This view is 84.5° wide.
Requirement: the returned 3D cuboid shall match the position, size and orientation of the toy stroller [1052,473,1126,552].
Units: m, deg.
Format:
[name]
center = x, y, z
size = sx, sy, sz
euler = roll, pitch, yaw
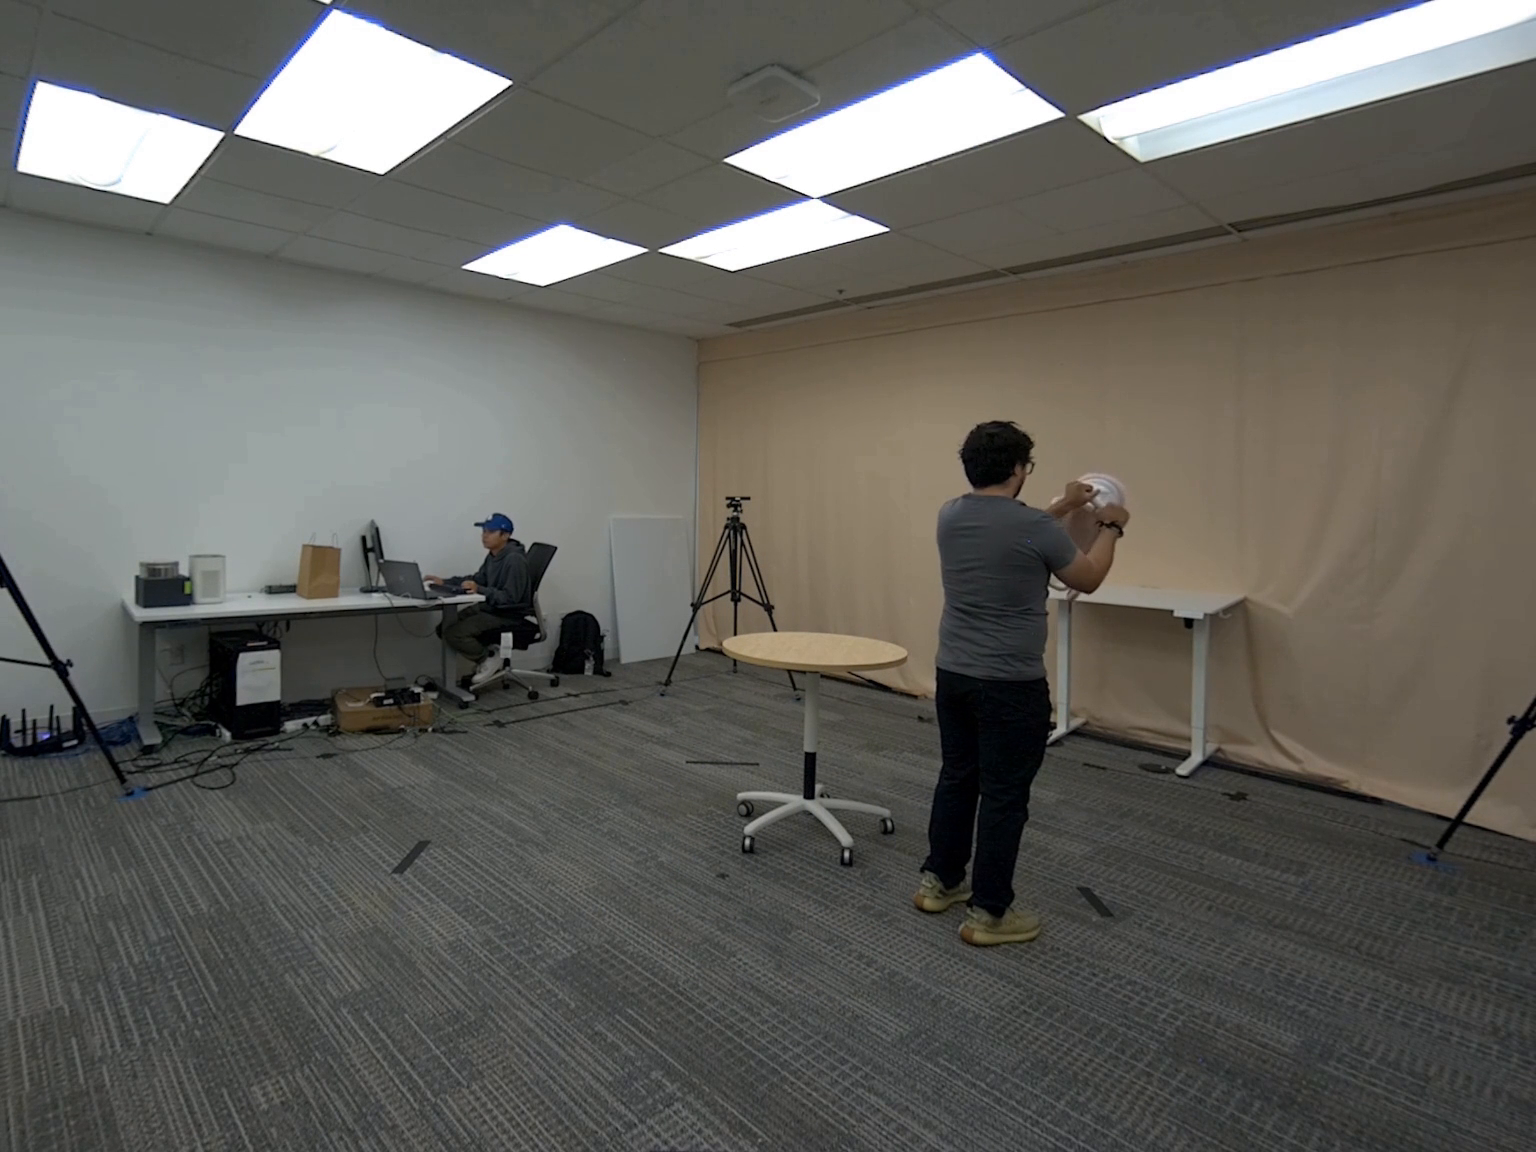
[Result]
[toy stroller]
center = 1.109, -0.167, 3.100
size = 0.285, 0.528, 0.341
euler = 33, 47, 10
